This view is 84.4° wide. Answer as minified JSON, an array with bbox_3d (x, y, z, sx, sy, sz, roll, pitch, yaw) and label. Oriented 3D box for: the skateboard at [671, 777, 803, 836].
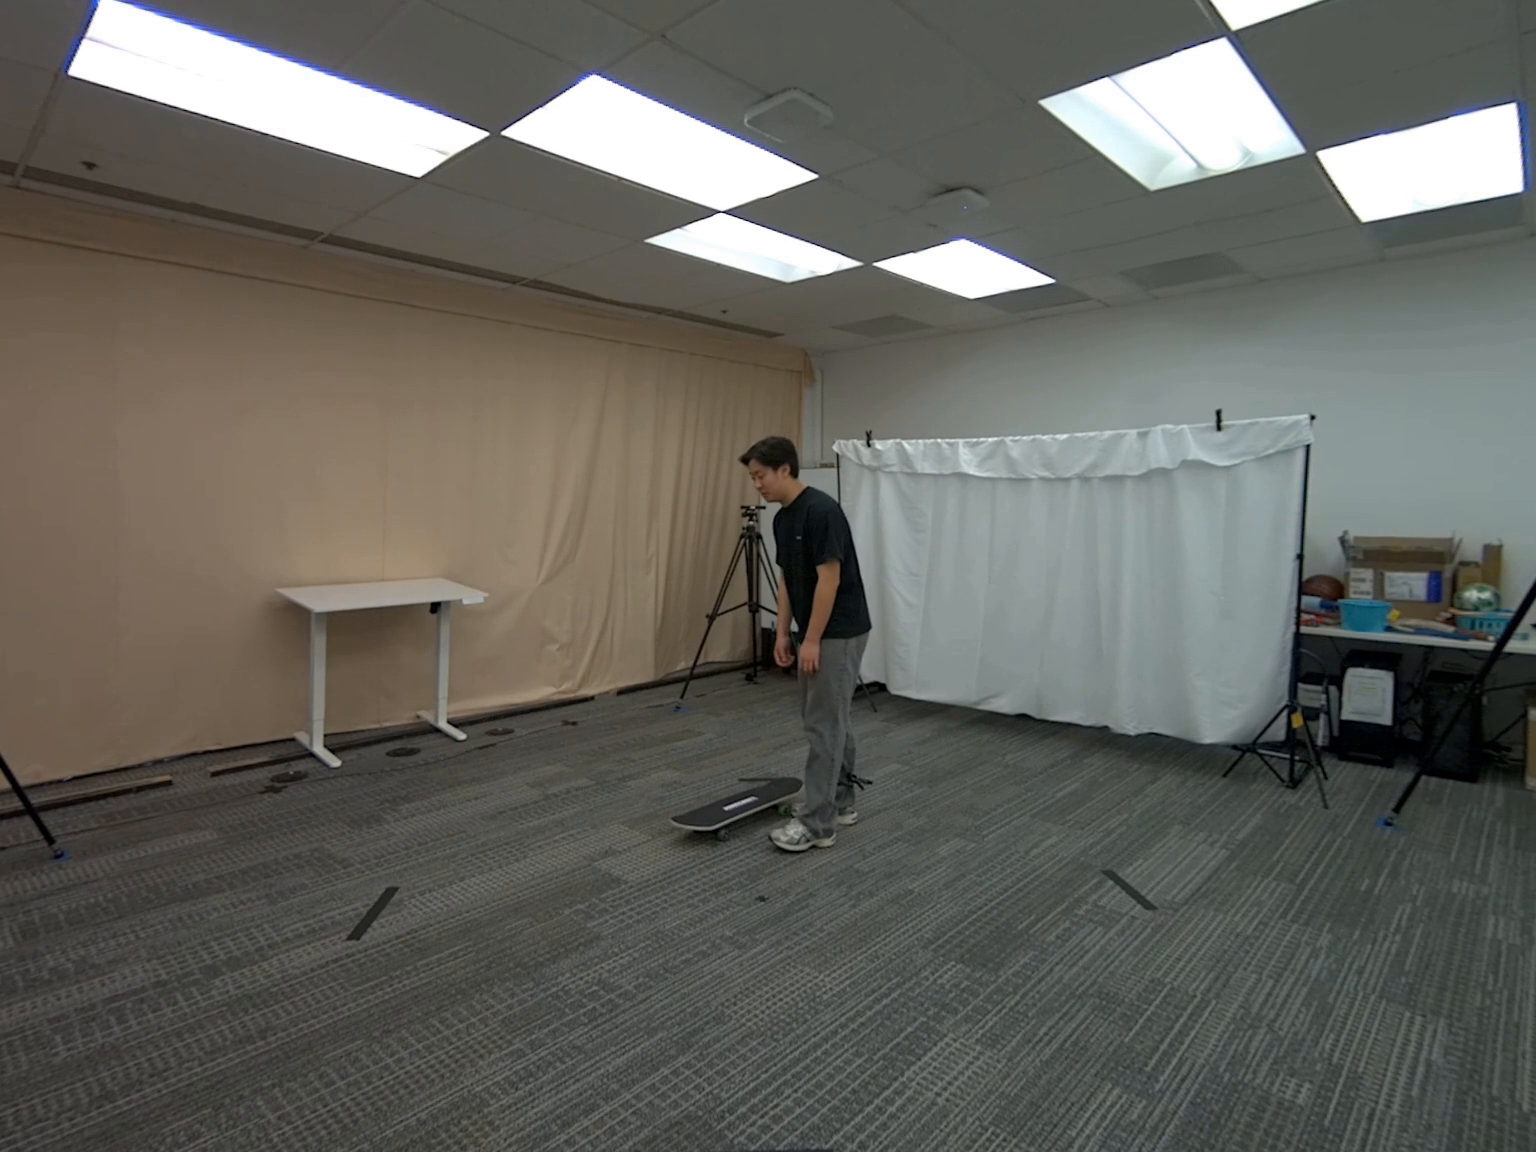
[{"bbox_3d":[-0.116,1.030,3.694,0.200,0.110,0.761,2,5,42],"label":"skateboard"}]
